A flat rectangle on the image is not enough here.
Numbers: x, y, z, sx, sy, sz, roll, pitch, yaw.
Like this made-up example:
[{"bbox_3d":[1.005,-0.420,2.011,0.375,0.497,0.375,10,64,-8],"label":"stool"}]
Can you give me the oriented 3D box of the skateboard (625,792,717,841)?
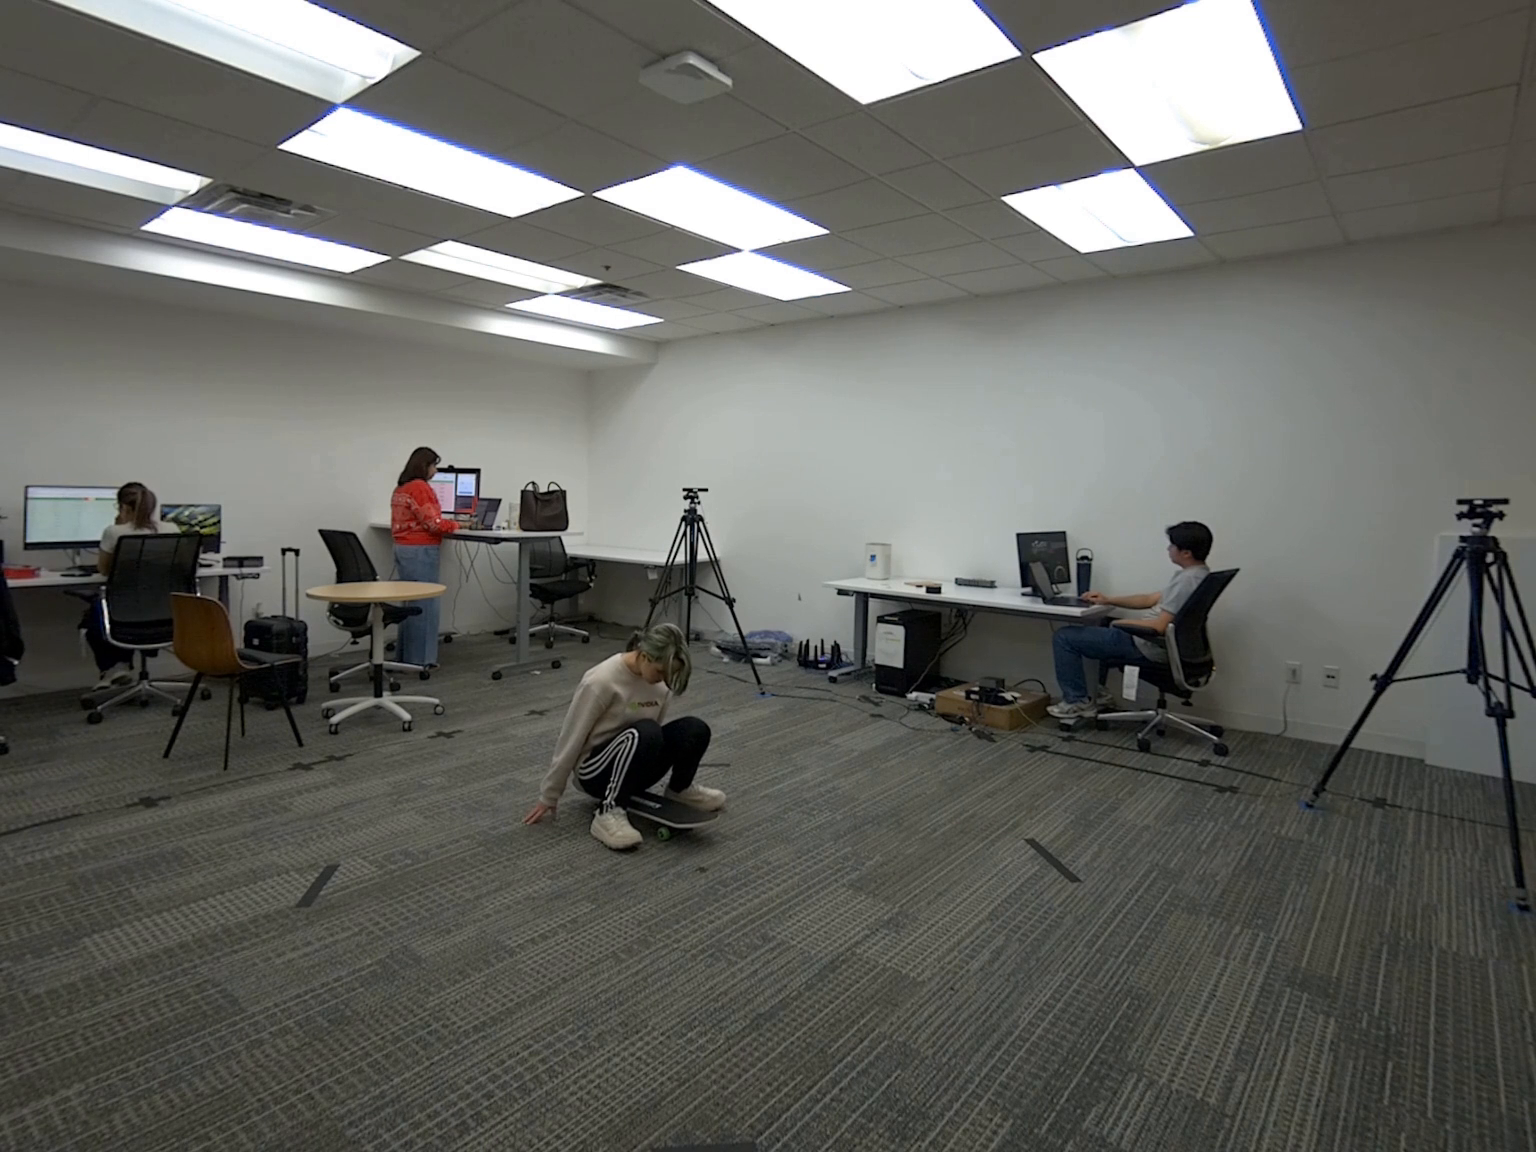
[{"bbox_3d":[-0.533,0.974,3.553,0.811,0.110,0.188,4,7,38],"label":"skateboard"}]
